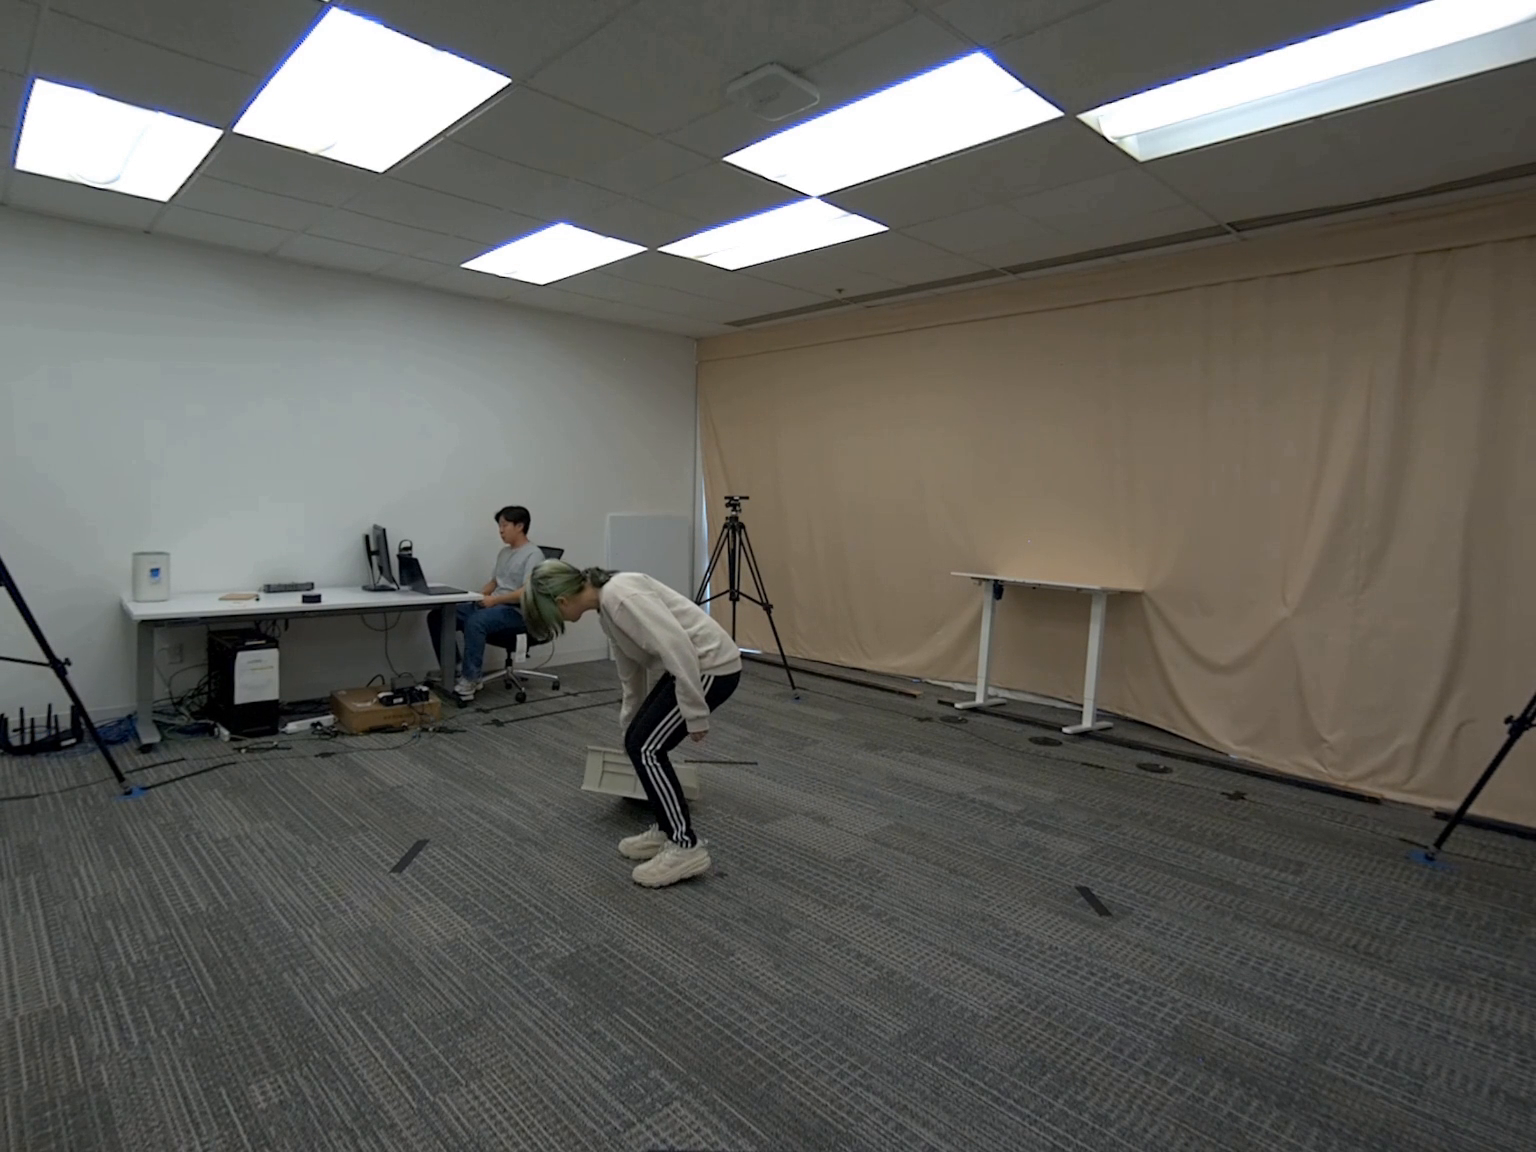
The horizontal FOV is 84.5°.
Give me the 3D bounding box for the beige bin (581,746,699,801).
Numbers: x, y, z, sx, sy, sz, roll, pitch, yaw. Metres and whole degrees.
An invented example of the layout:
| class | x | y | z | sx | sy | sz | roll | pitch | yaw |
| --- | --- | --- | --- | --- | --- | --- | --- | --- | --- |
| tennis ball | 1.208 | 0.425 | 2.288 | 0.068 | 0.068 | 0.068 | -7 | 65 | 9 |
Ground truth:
| class | x | y | z | sx | sy | sz | roll | pitch | yaw |
| --- | --- | --- | --- | --- | --- | --- | --- | --- | --- |
| beige bin | -0.559 | 0.884 | 3.674 | 0.383 | 0.191 | 0.411 | 2 | -17 | 20 |
